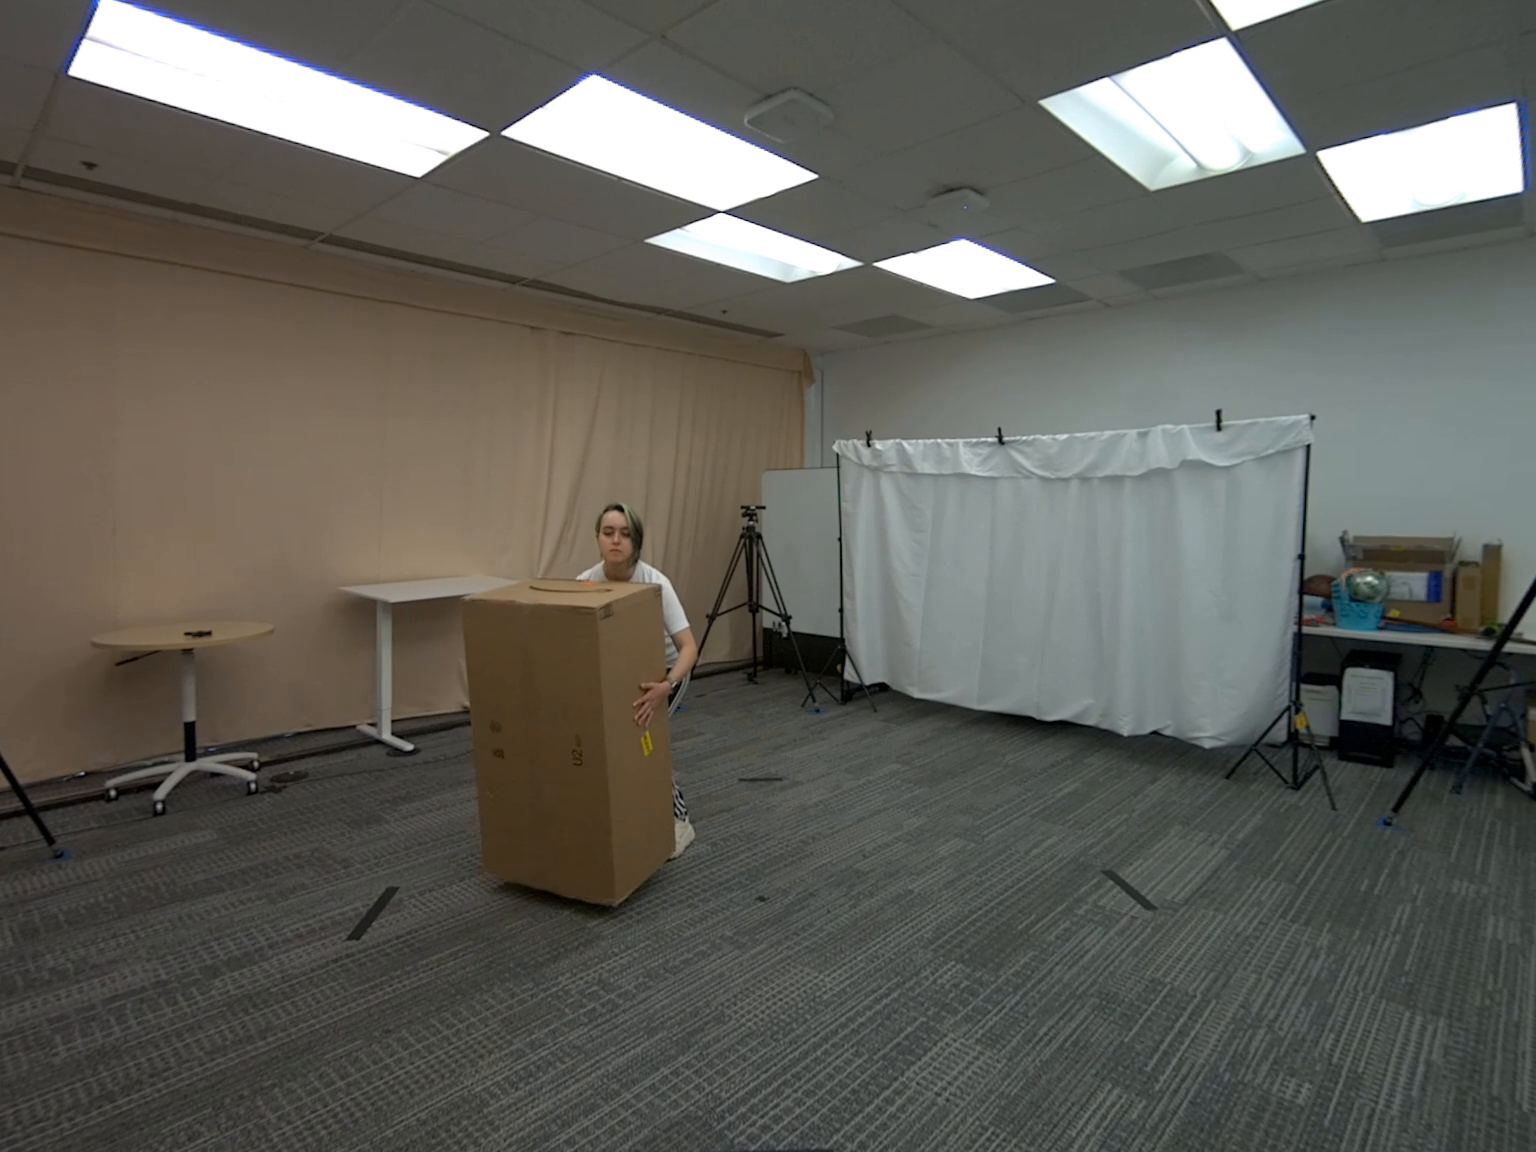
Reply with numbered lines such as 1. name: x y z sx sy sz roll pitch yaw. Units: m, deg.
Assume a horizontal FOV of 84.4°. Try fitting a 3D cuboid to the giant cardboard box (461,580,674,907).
1. giant cardboard box: -0.705 0.552 3.047 0.592 1.020 0.418 1 8 24
